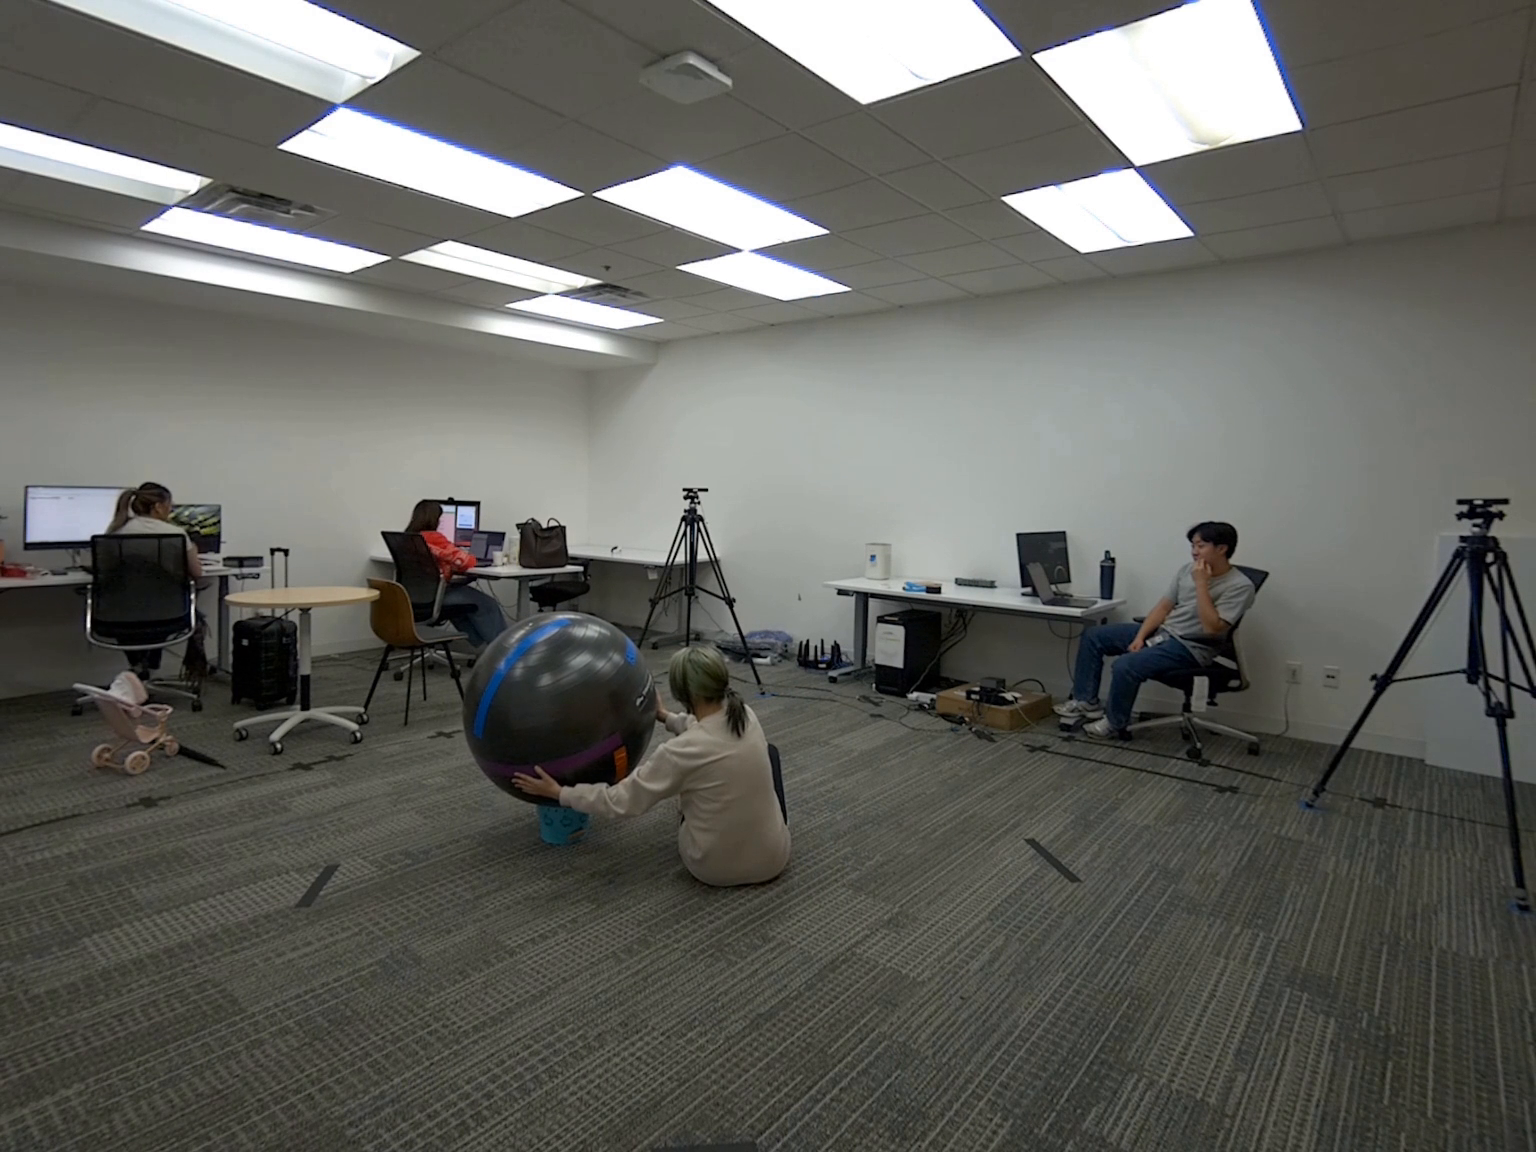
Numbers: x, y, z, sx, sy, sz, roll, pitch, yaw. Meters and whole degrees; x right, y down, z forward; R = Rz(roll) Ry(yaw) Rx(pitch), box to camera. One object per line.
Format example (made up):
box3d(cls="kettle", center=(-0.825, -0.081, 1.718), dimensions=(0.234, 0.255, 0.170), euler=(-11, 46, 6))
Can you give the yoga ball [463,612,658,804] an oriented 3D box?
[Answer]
box3d(cls="yoga ball", center=(-0.829, 0.526, 3.373), dimensions=(0.757, 0.756, 0.761), euler=(1, 4, -2))
